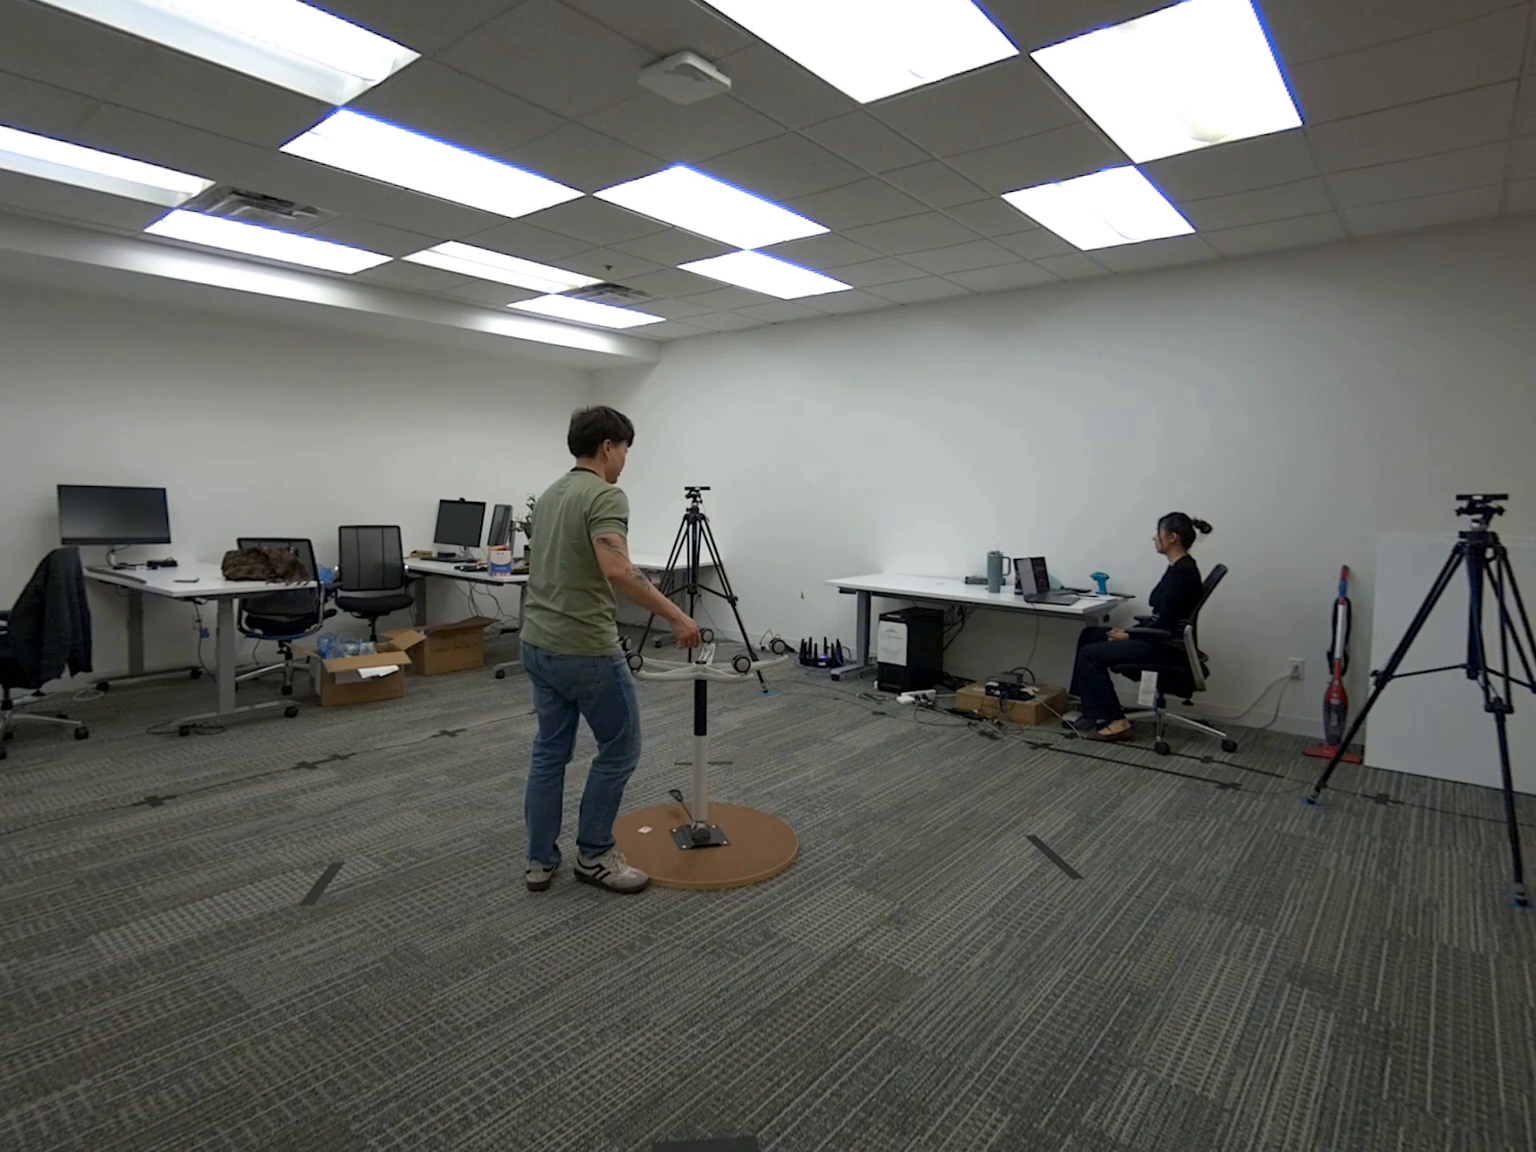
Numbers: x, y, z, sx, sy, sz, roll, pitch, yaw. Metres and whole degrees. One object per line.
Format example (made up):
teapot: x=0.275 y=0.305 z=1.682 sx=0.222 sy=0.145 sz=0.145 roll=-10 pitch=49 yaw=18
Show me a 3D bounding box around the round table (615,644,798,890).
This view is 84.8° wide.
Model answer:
round table: x=-0.268 y=0.650 z=3.305 sx=0.763 sy=0.791 sz=0.768 roll=0 pitch=5 yaw=-2
